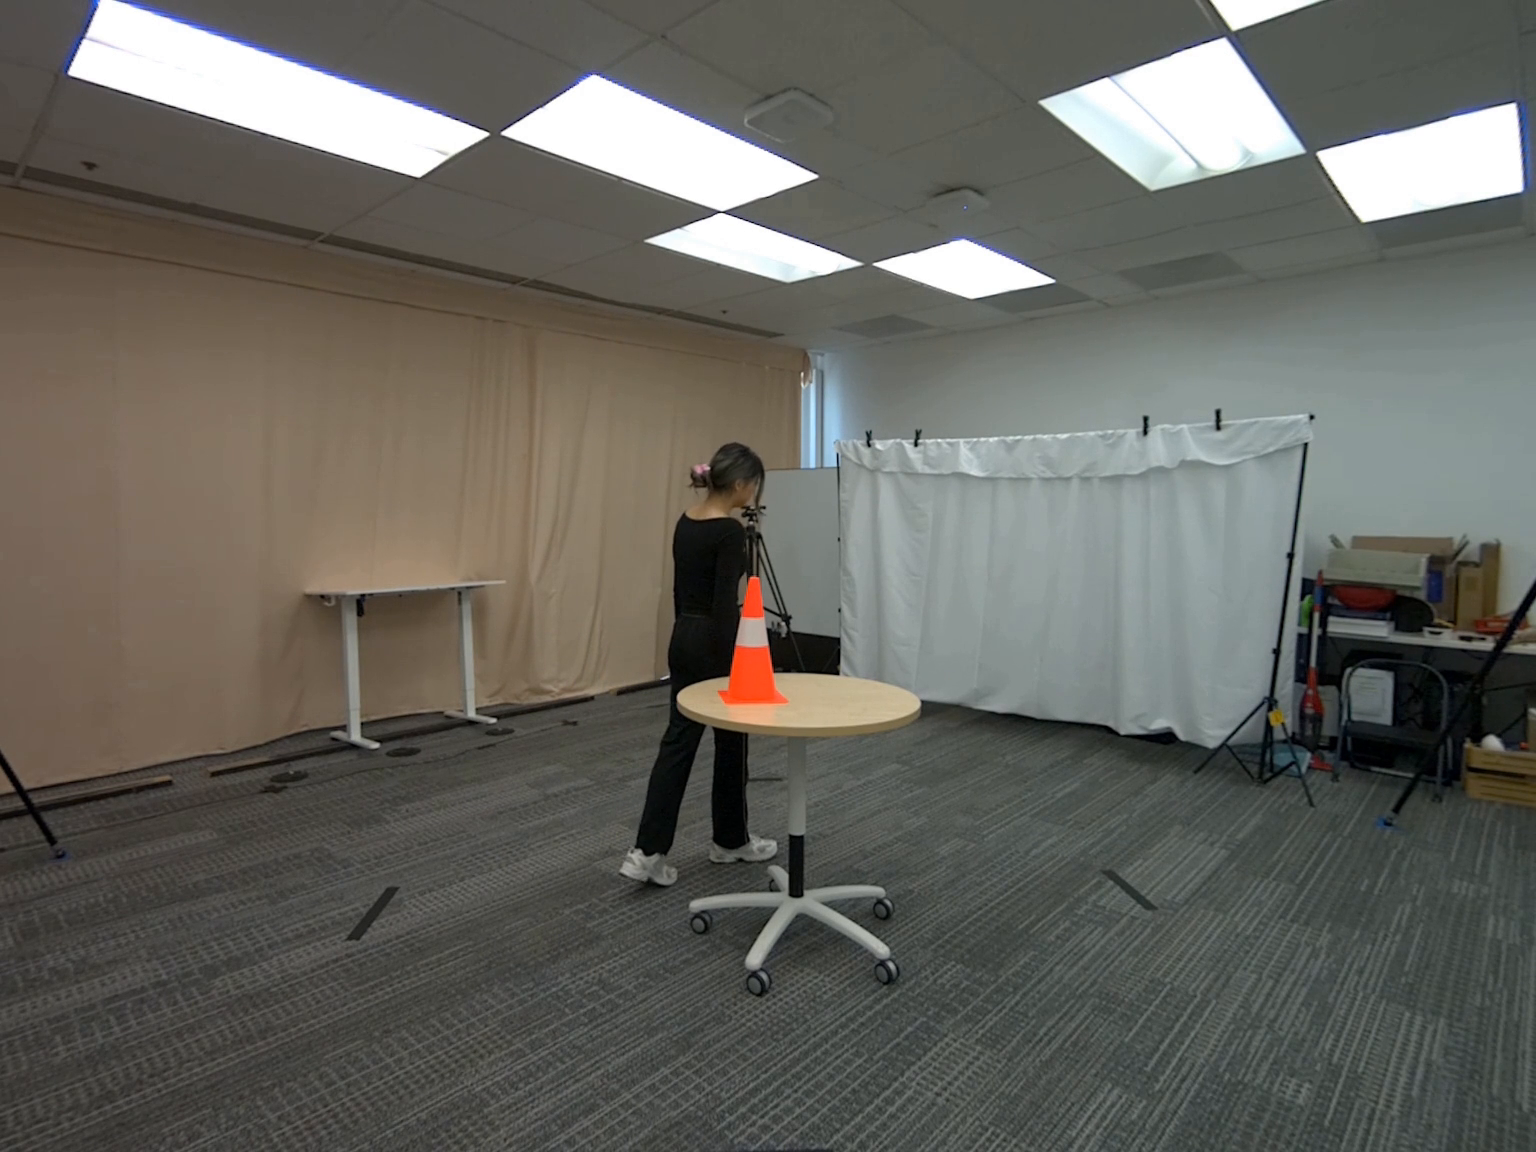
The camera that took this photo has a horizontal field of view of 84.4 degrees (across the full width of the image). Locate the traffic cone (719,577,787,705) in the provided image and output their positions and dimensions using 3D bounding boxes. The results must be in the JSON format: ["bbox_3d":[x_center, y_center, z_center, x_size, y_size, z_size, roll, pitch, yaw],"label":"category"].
[{"bbox_3d":[-0.045,0.199,2.661,0.201,0.383,0.208,-1,3,-13],"label":"traffic cone"}]
